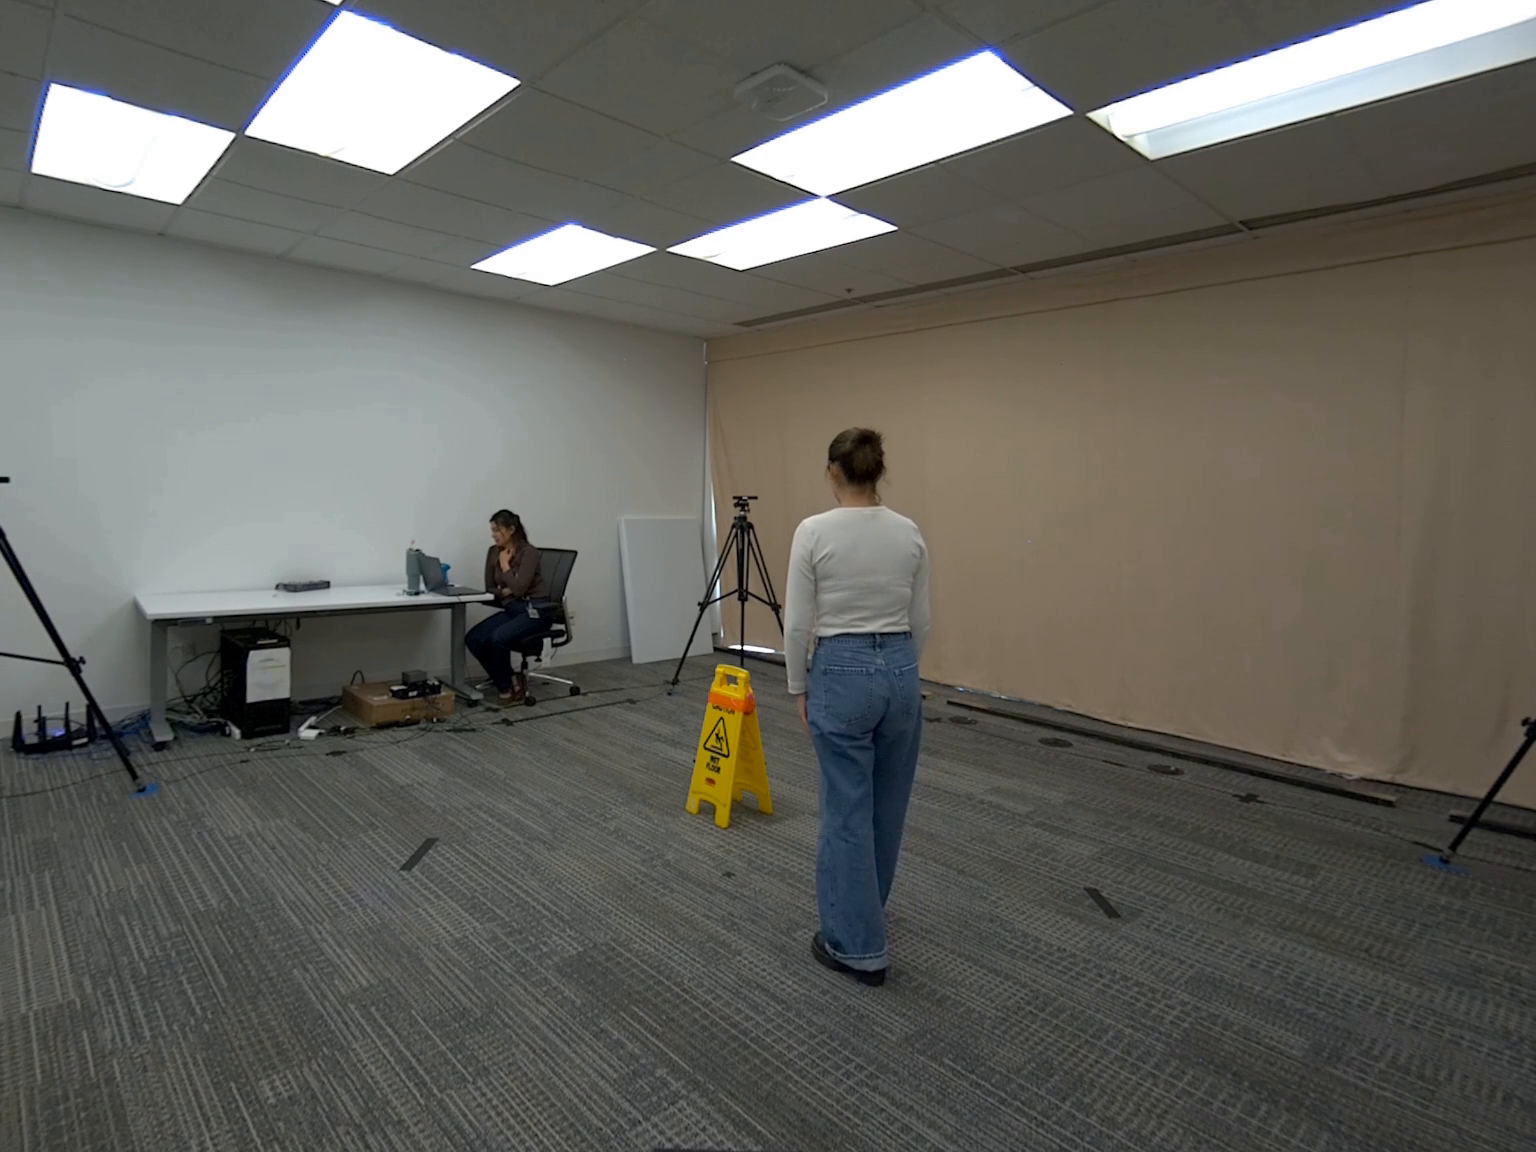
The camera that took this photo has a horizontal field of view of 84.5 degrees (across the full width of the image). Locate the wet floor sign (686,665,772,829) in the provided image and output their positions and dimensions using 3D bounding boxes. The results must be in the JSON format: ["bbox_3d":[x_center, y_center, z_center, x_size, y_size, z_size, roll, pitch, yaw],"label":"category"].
[{"bbox_3d":[-0.176,0.724,3.715,0.283,0.645,0.289,-2,4,-42],"label":"wet floor sign"}]
